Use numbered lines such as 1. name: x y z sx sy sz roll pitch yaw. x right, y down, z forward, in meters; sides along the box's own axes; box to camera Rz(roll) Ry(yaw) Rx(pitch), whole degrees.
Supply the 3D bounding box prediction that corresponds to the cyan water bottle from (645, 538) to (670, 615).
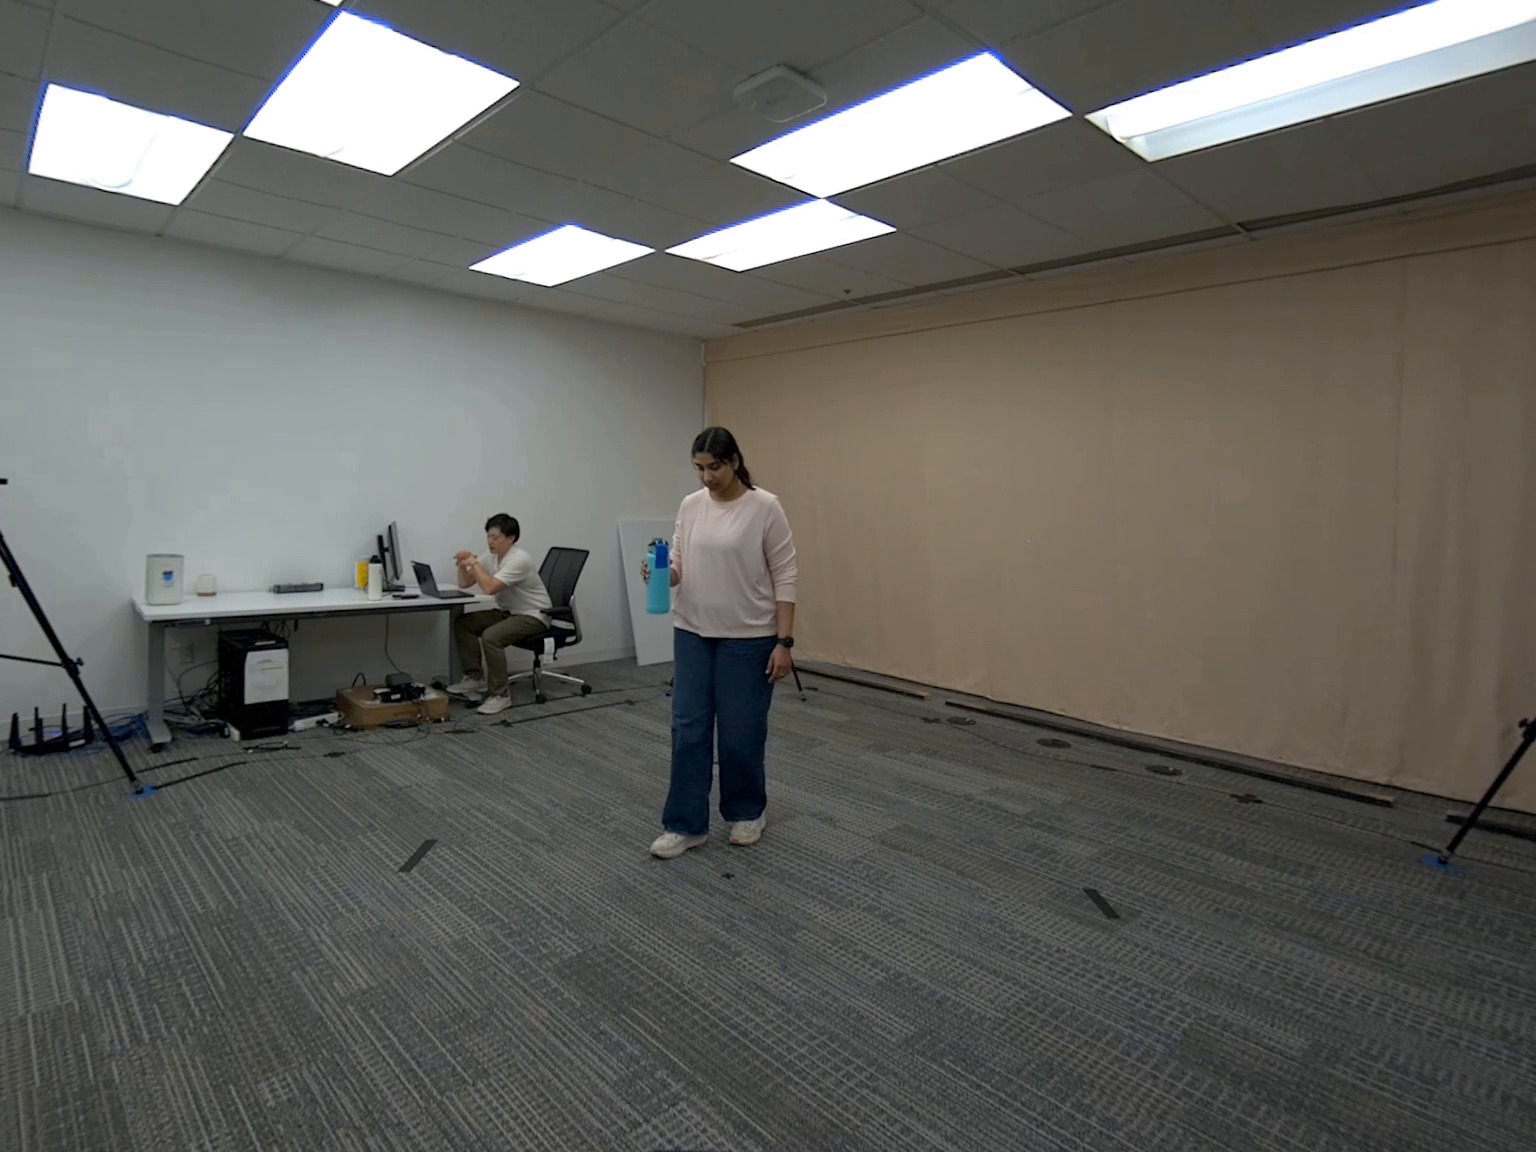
1. cyan water bottle: -0.426 -0.005 3.153 0.092 0.281 0.093 2 10 -2
